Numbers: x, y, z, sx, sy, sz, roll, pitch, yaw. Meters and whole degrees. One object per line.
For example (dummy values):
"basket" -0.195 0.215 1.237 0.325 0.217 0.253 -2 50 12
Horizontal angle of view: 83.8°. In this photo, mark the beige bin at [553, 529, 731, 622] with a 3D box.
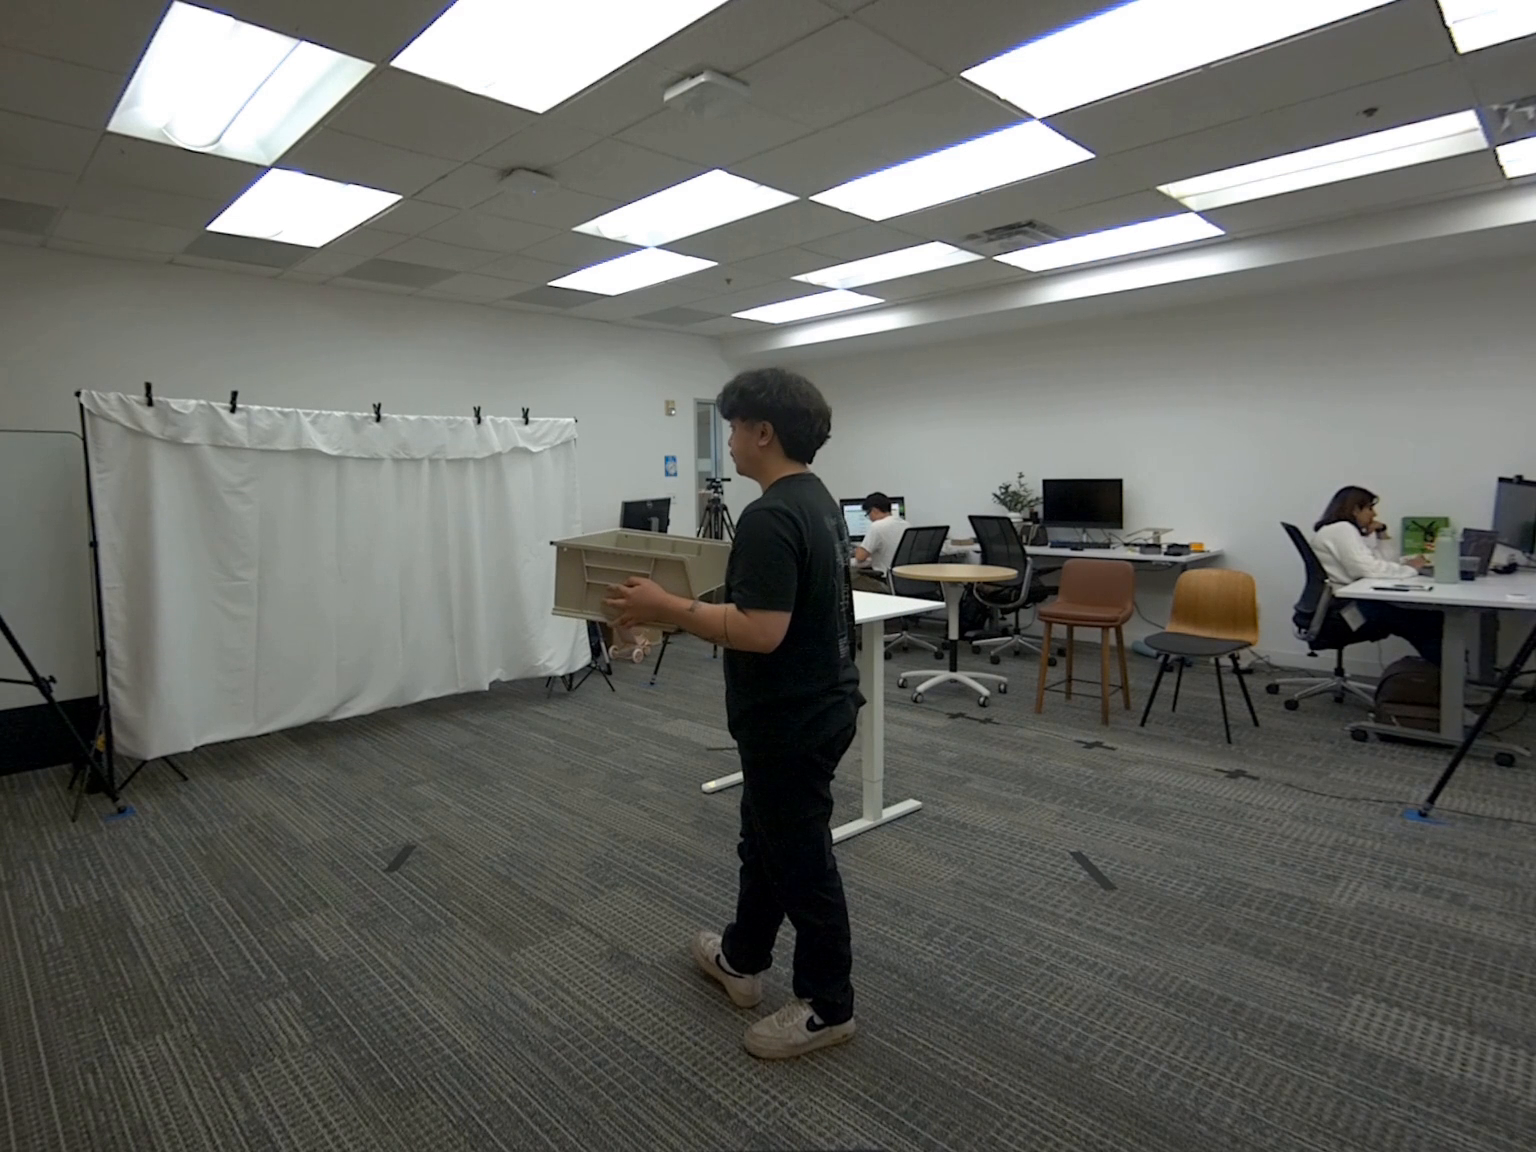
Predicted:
"beige bin" -0.285 -0.003 2.181 0.383 0.188 0.419 4 8 13
